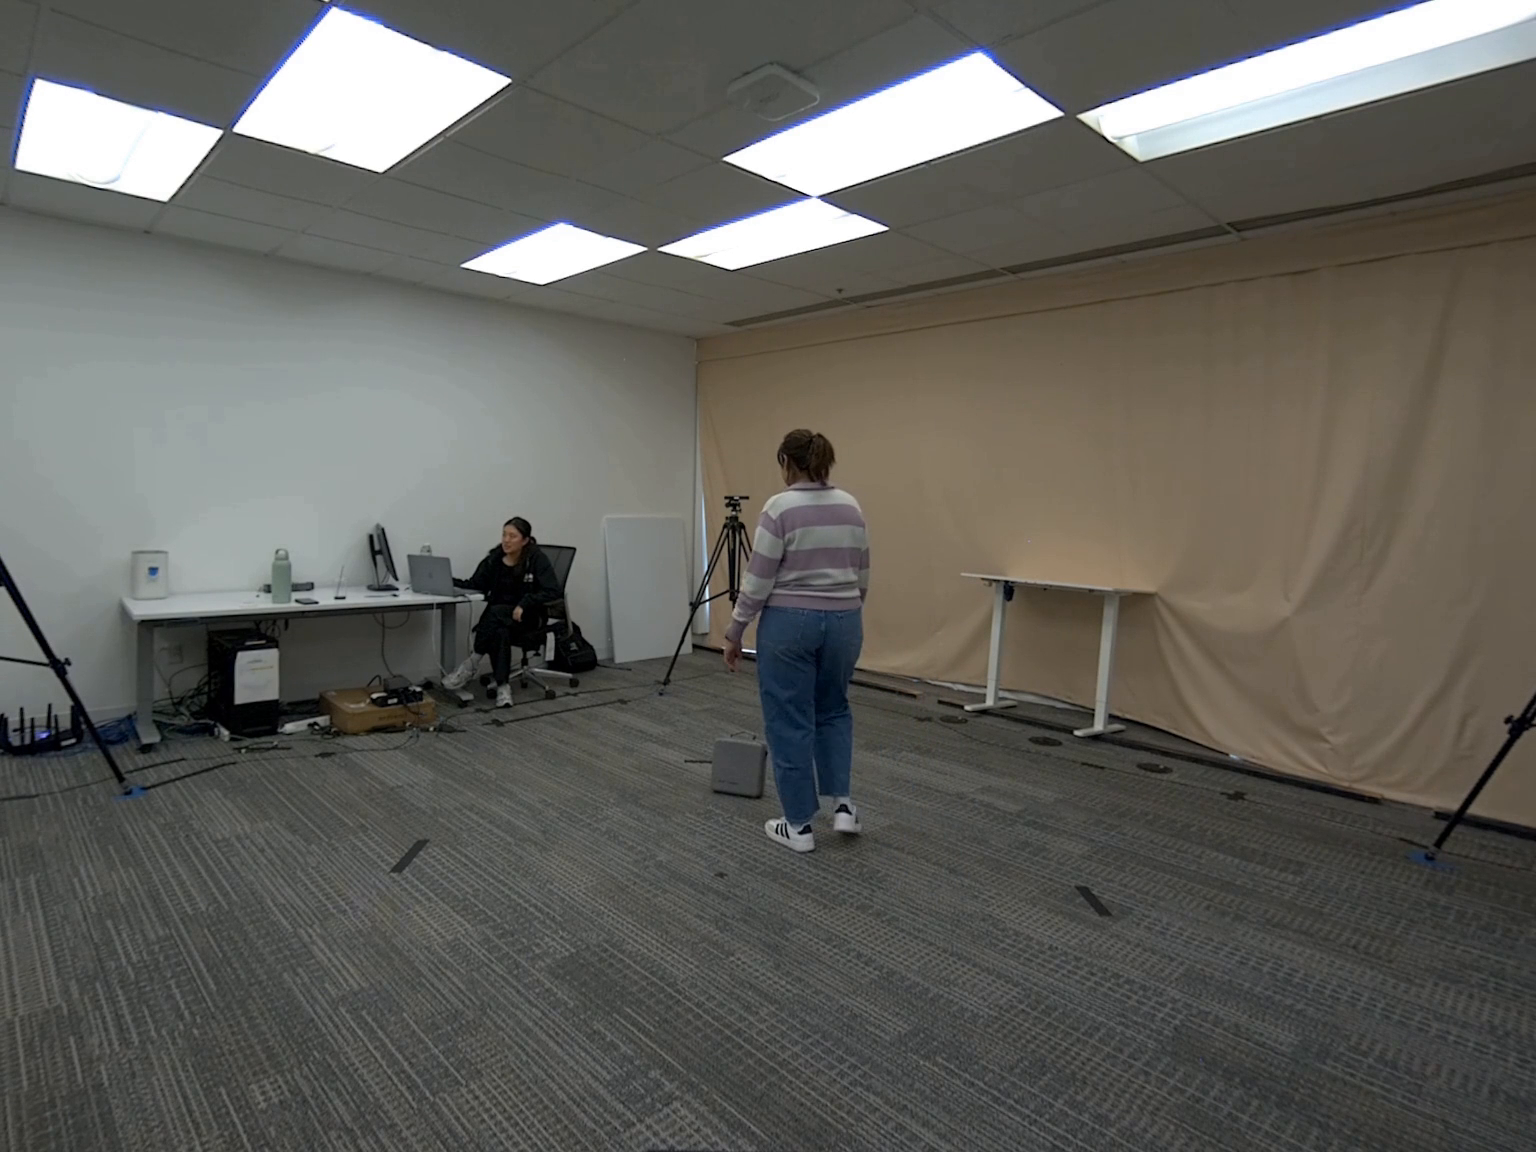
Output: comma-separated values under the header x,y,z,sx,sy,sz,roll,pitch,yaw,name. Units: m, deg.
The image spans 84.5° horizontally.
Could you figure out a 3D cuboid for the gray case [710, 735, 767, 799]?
x,y,z,sx,sy,sz,roll,pitch,yaw,name
-0.150,0.889,3.986,0.261,0.261,0.102,5,-2,21,gray case
